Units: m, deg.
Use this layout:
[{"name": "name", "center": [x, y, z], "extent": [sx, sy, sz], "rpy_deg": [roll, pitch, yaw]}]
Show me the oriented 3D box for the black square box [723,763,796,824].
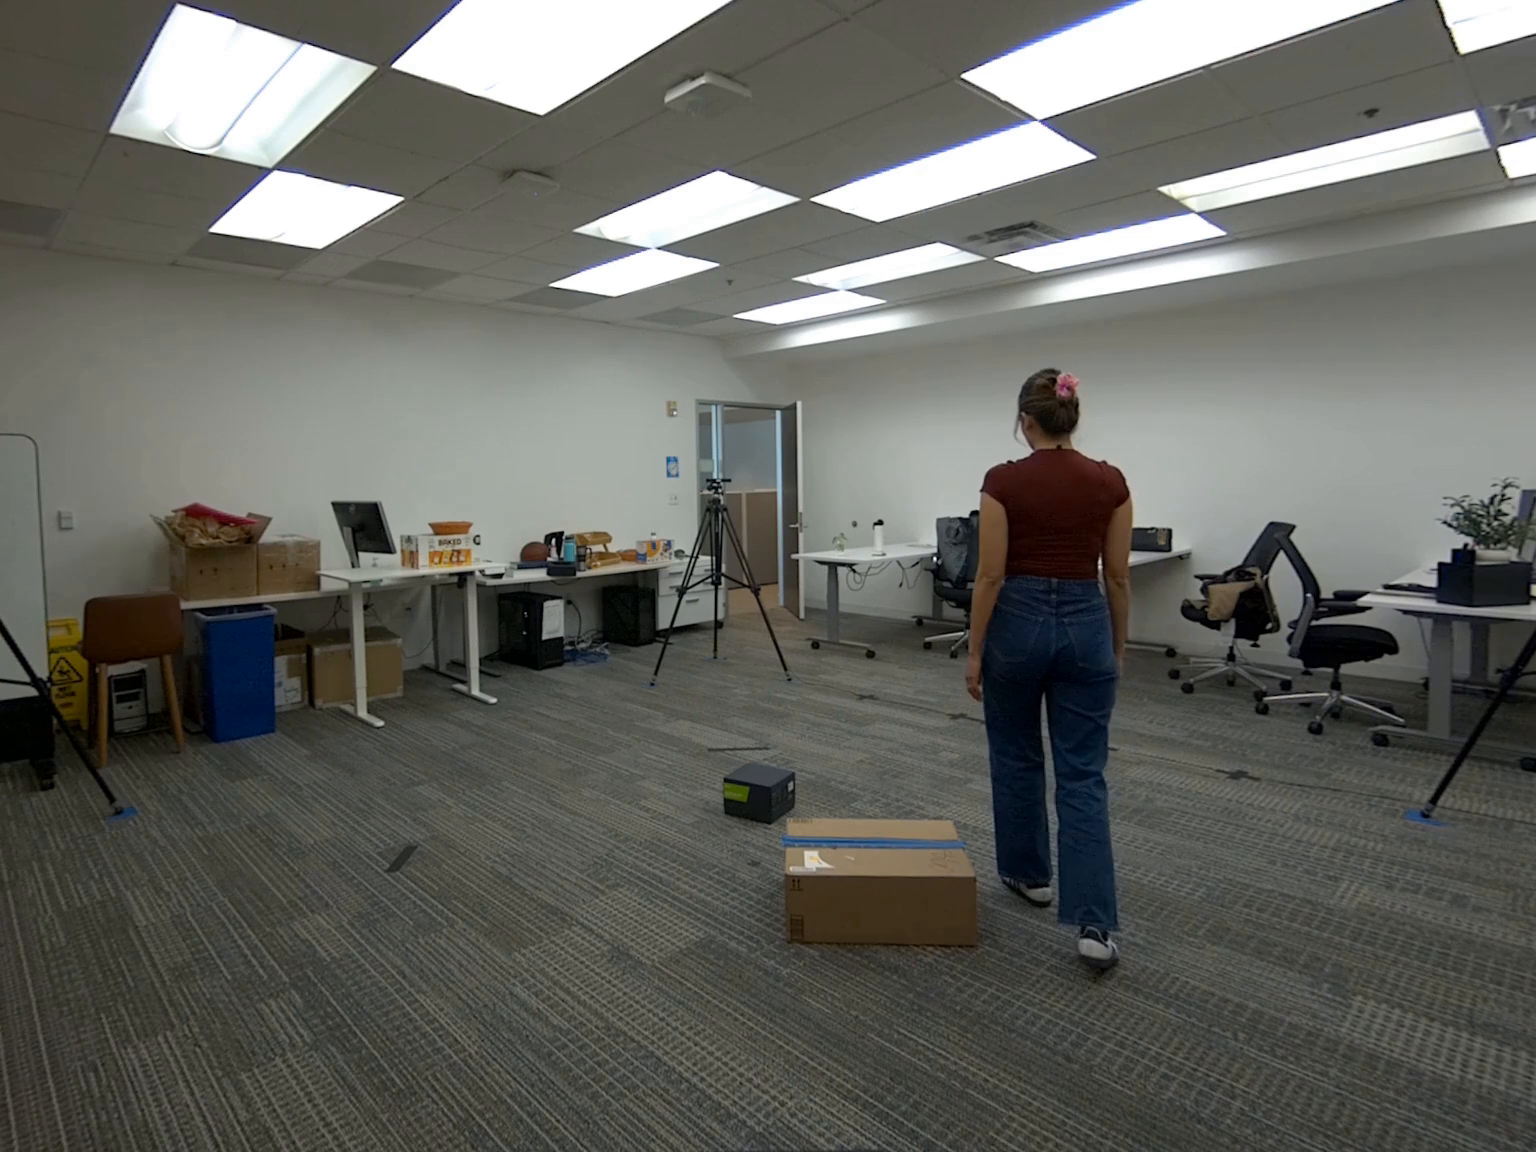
[{"name": "black square box", "center": [-0.036, 0.905, 3.590], "extent": [0.234, 0.155, 0.212], "rpy_deg": [3, 6, 30]}]
